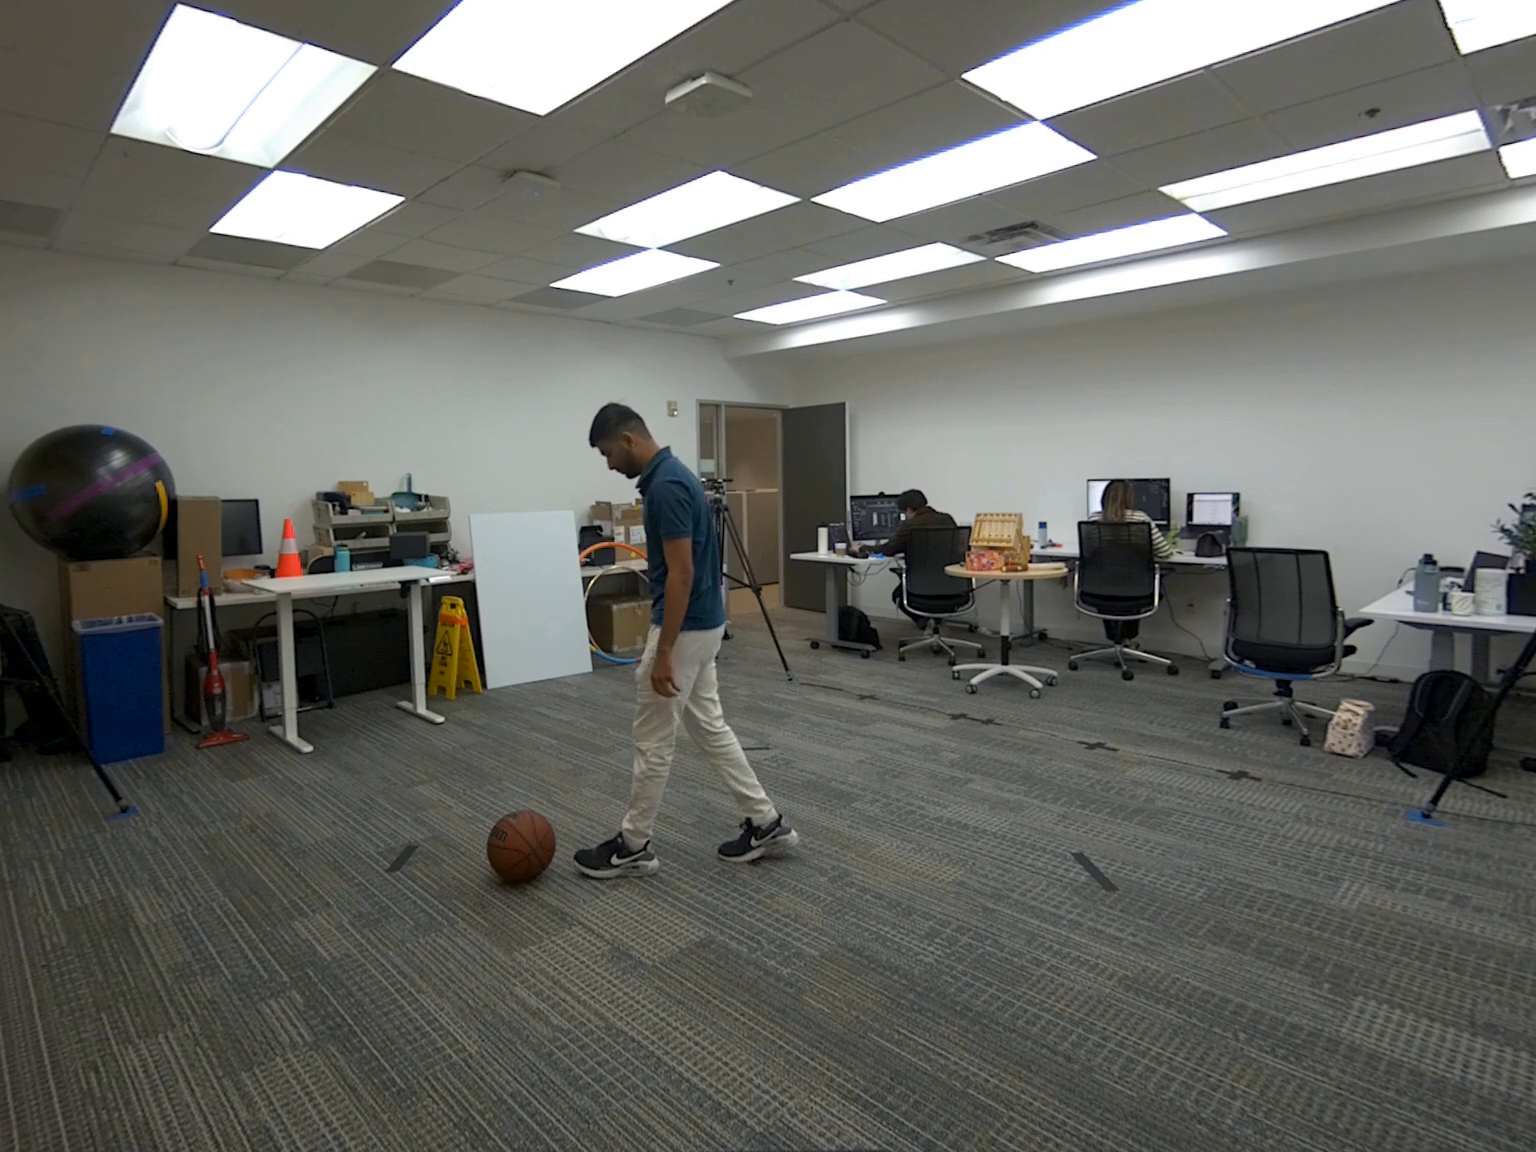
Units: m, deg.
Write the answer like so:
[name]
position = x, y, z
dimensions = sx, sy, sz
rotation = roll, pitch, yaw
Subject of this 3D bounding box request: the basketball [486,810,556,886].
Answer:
[basketball]
position = -0.867, 0.950, 3.016
dimensions = 0.236, 0.235, 0.237
rotation = -1, 5, -2
